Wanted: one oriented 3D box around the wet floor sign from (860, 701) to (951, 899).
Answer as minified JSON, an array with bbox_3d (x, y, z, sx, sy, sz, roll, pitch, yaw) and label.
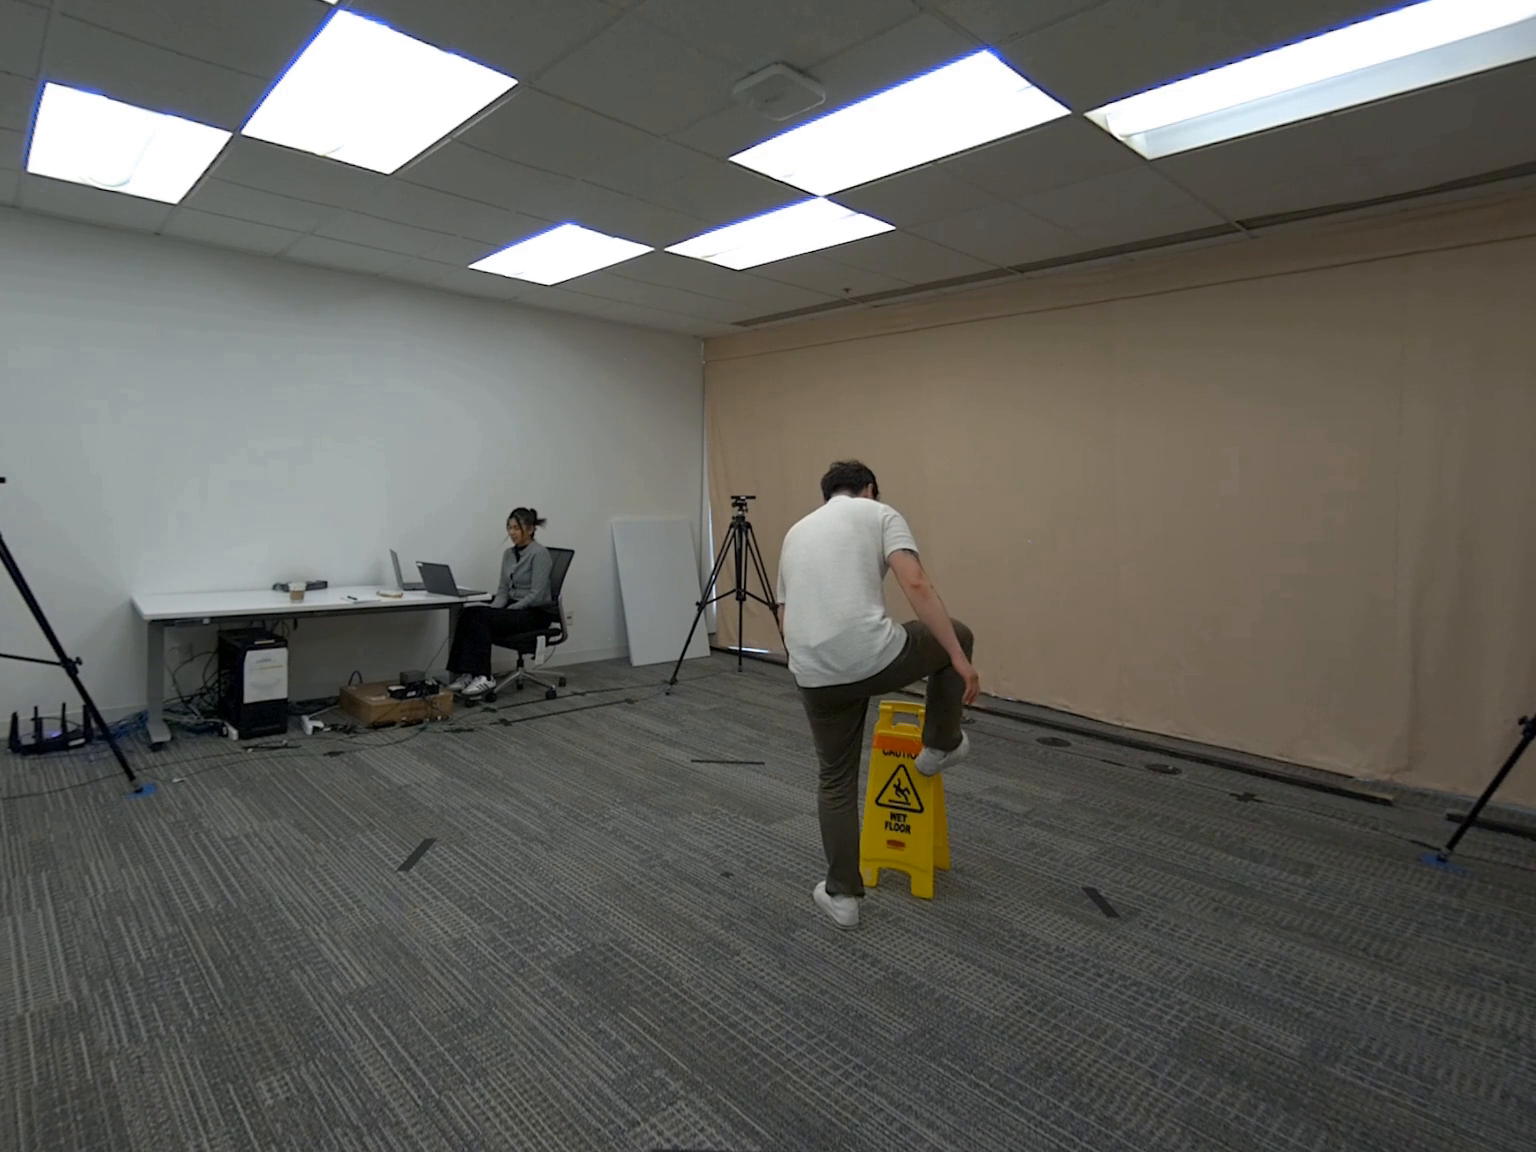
[{"bbox_3d":[0.494,0.790,3.119,0.288,0.645,0.284,1,2,25],"label":"wet floor sign"}]
